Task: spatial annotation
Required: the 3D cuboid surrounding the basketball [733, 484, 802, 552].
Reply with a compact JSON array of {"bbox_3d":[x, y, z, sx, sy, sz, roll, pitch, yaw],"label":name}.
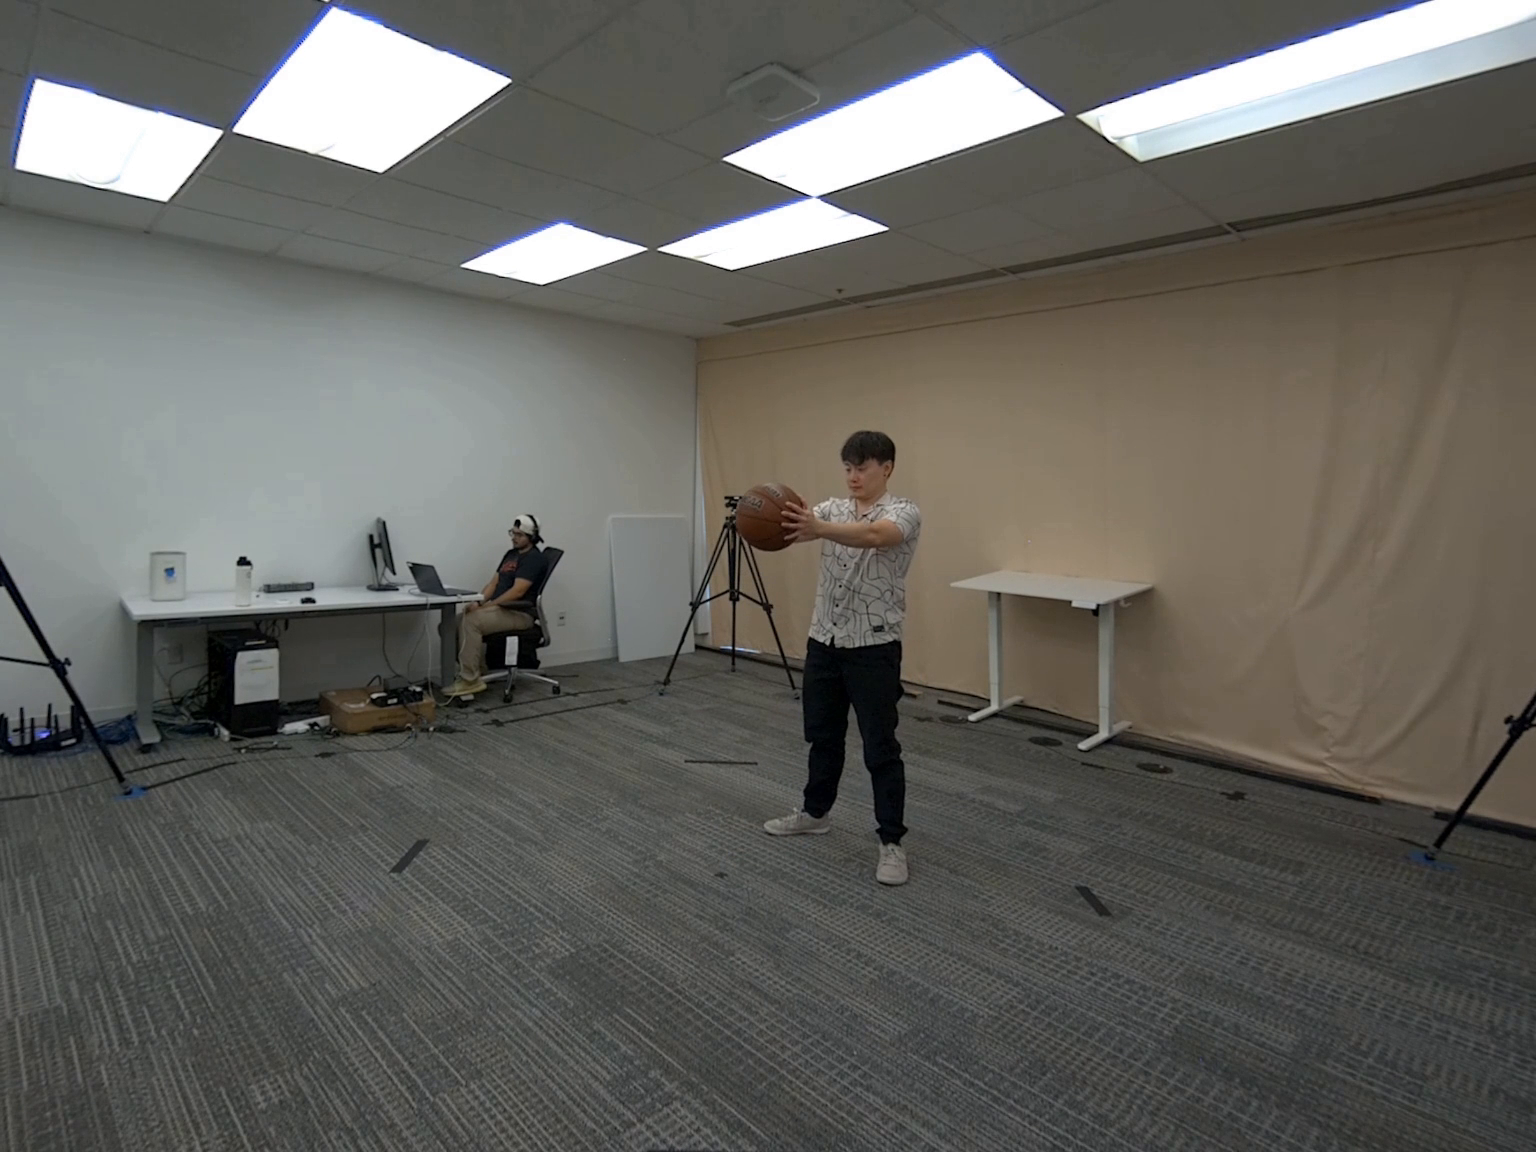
[{"bbox_3d":[-0.005,-0.203,2.925,0.236,0.235,0.237,1,4,-1],"label":"basketball"}]
